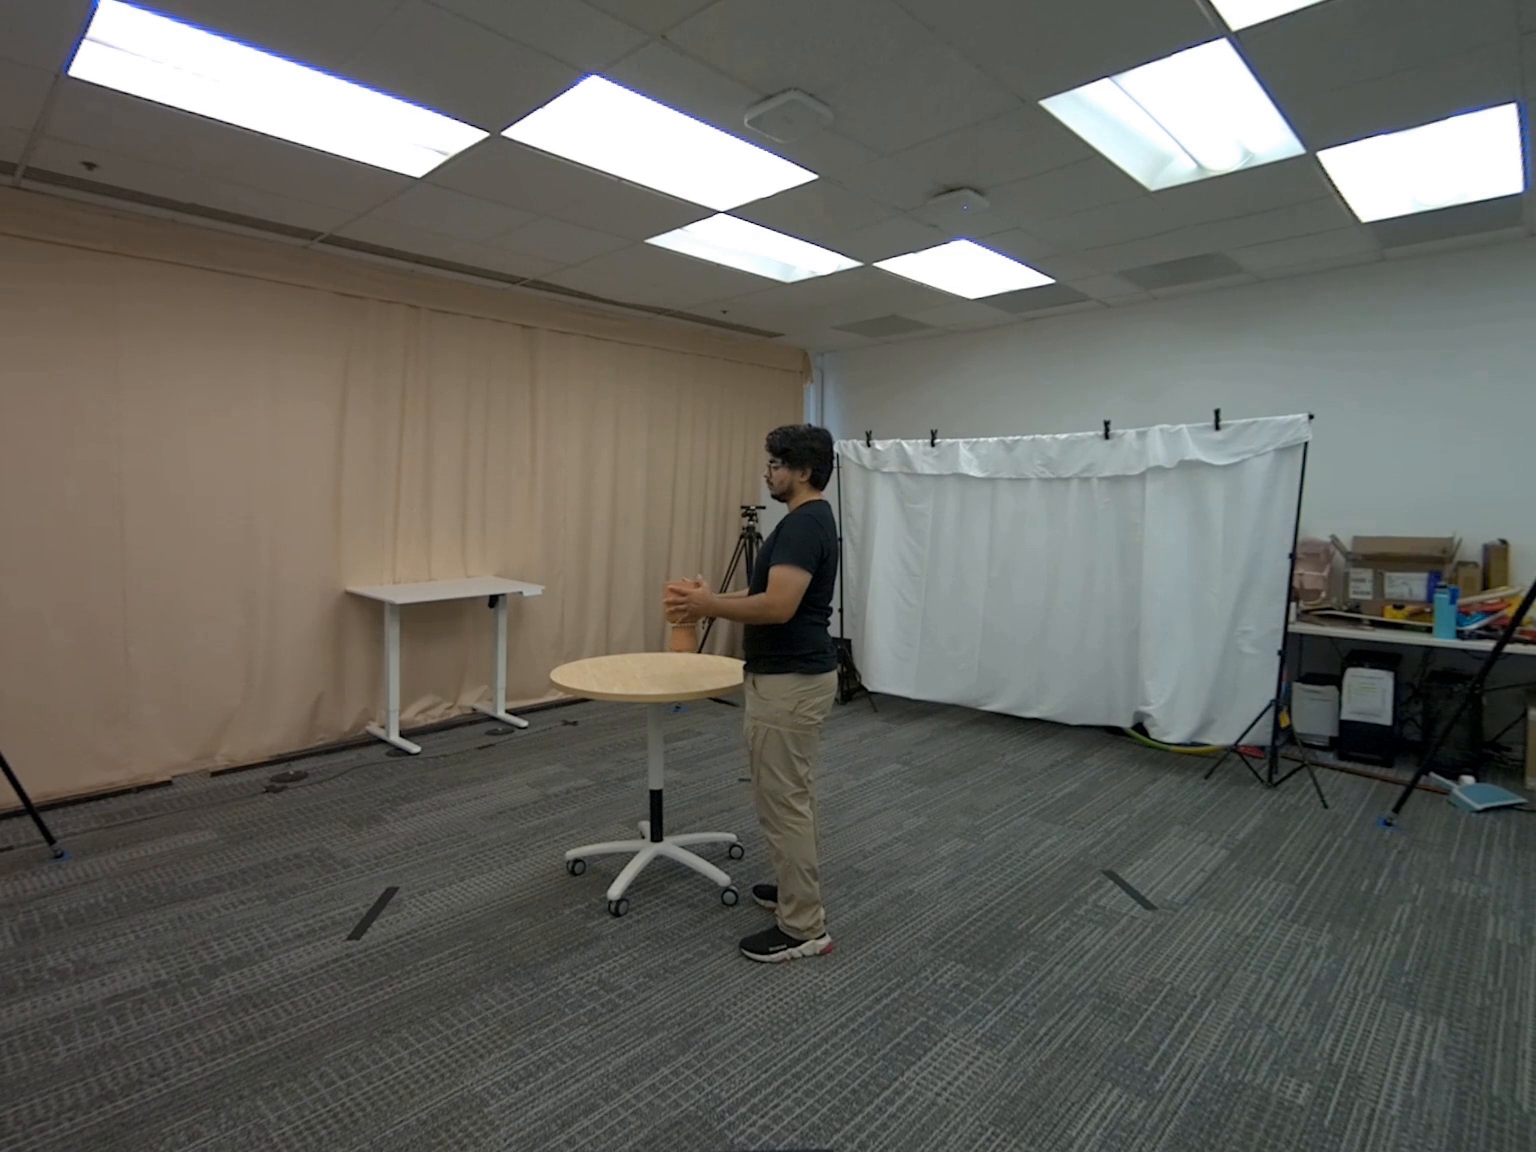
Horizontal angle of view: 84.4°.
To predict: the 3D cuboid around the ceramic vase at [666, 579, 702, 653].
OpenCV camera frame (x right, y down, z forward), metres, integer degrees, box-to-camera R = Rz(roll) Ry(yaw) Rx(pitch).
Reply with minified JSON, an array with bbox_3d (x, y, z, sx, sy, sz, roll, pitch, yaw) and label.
[{"bbox_3d":[-0.270,0.134,2.755,0.133,0.220,0.160,-1,-5,-12],"label":"ceramic vase"}]
